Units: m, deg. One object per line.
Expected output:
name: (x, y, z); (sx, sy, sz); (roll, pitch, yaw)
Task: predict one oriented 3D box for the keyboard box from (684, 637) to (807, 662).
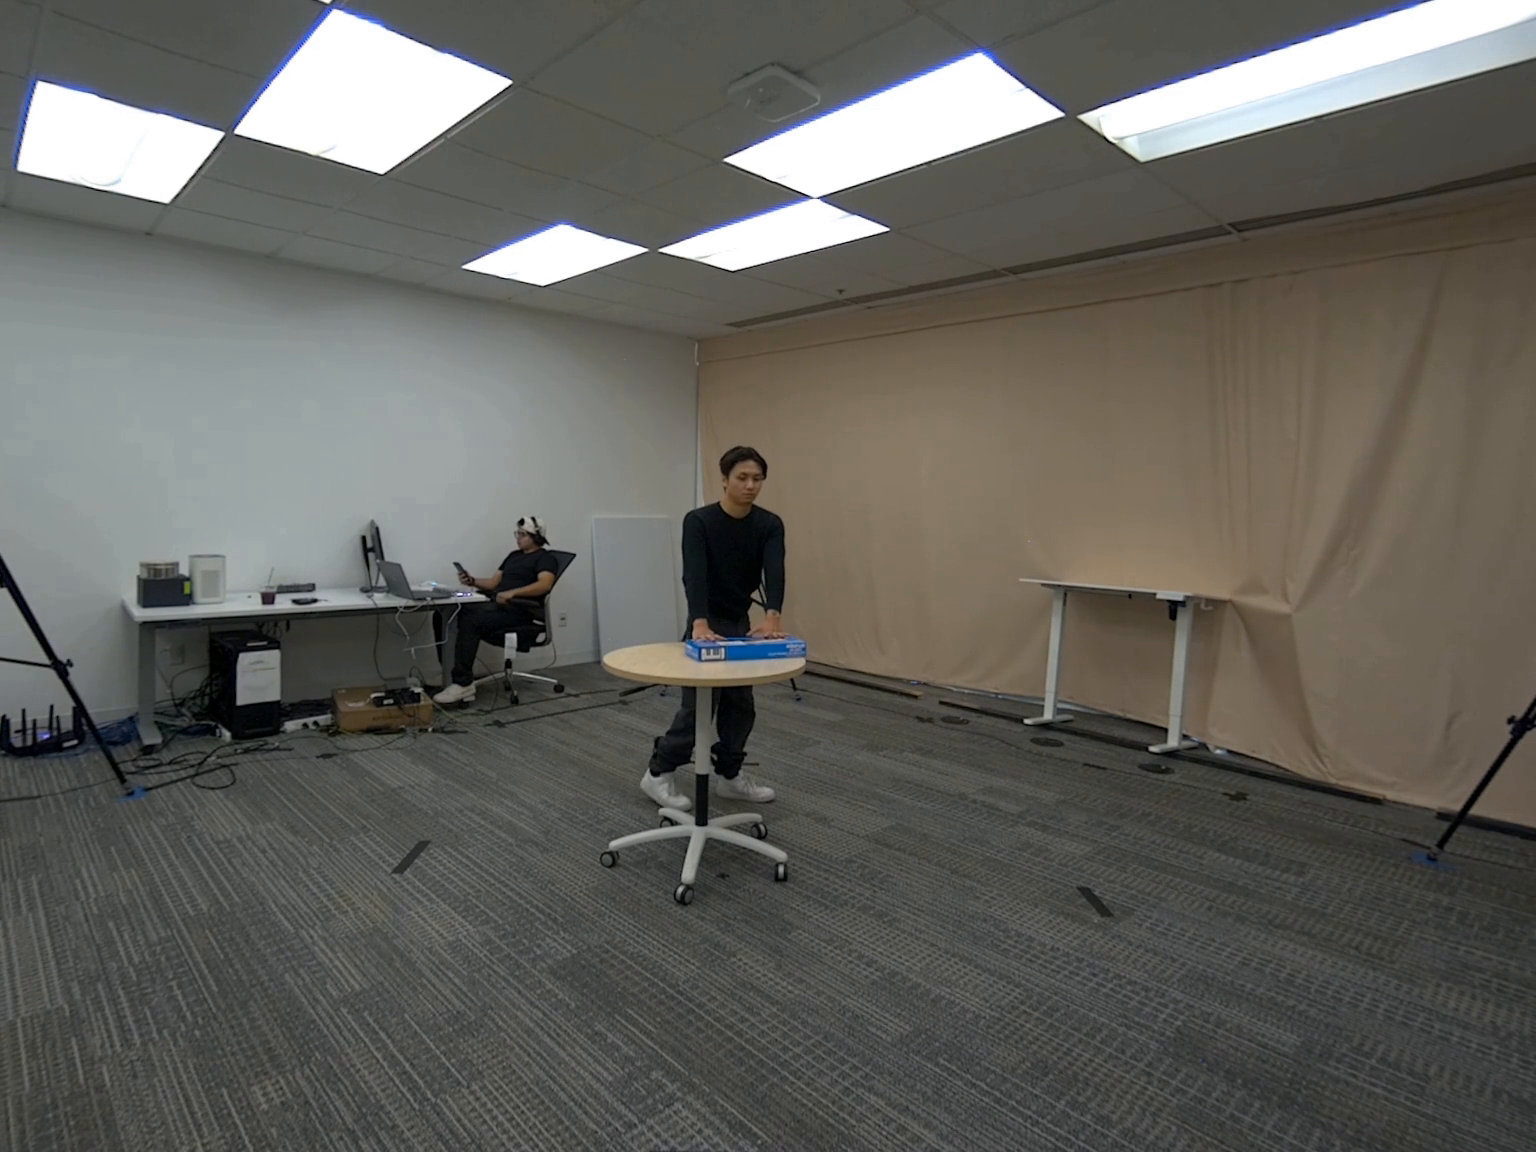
keyboard box: (-0.096, 0.280, 3.268); (0.430, 0.059, 0.179); (-1, 5, -20)
